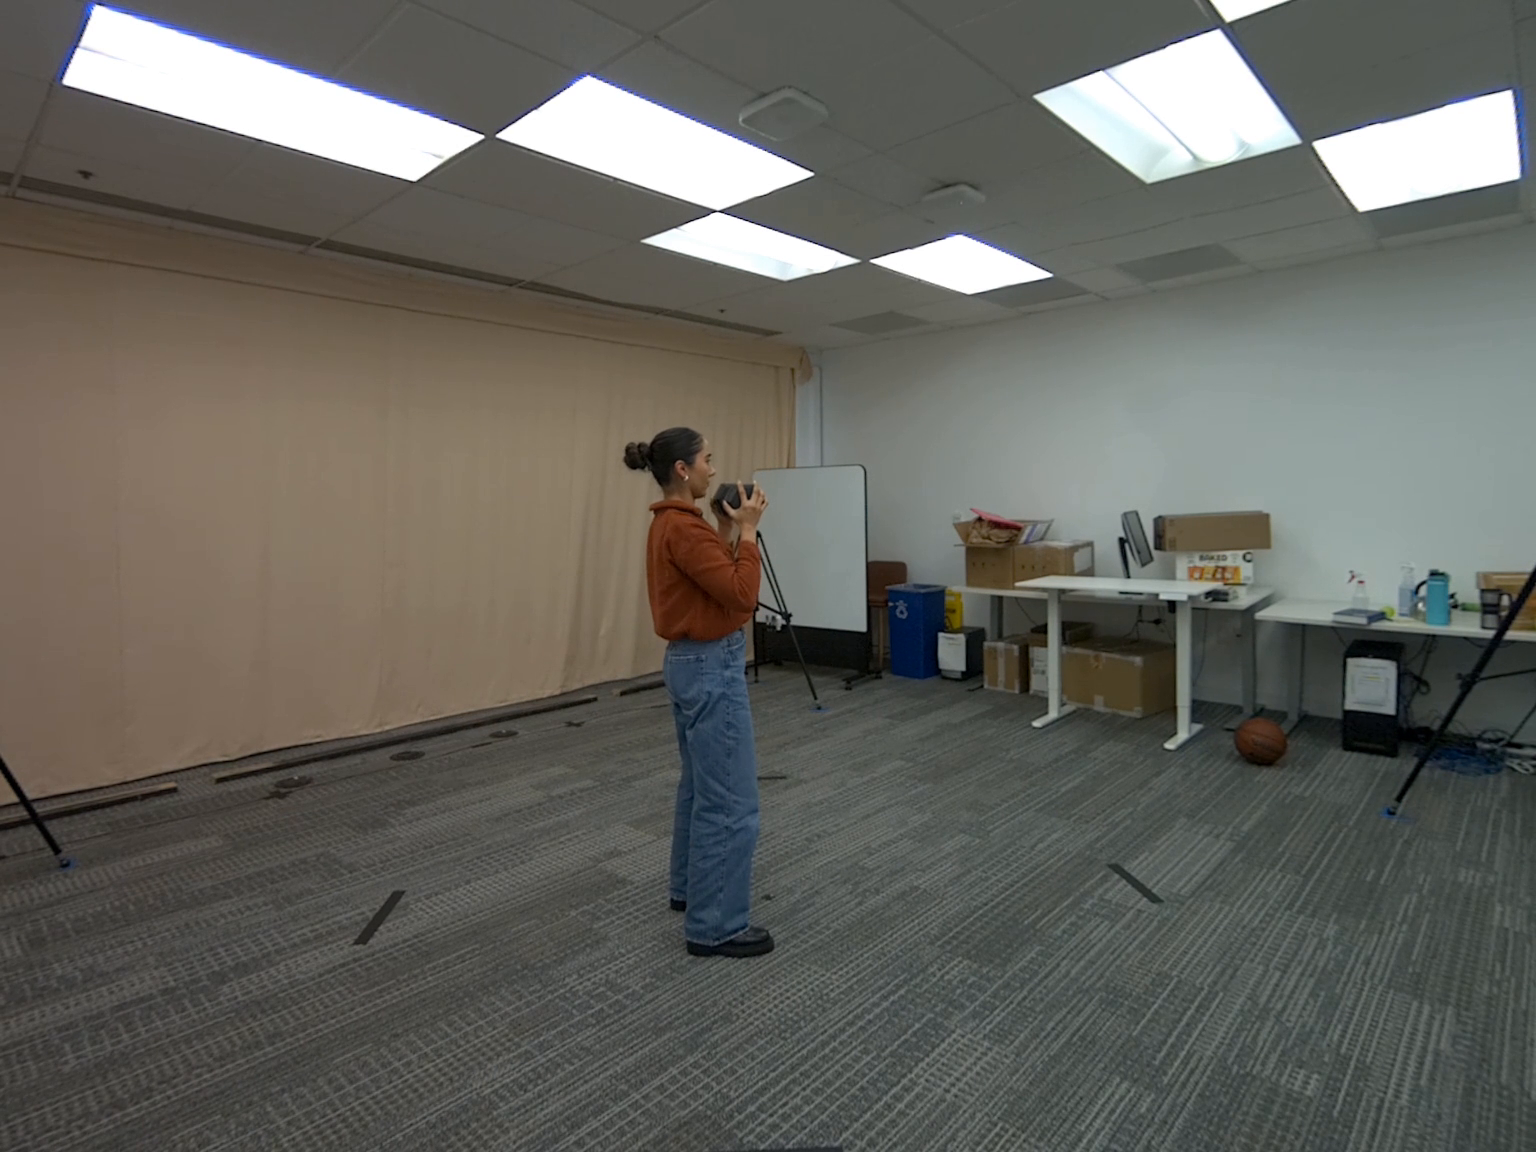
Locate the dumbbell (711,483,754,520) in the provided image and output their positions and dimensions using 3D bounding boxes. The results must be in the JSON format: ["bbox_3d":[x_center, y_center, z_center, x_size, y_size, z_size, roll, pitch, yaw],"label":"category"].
[{"bbox_3d":[-0.105,-0.247,2.743,0.108,0.122,0.298,-34,11,-8],"label":"dumbbell"}]
